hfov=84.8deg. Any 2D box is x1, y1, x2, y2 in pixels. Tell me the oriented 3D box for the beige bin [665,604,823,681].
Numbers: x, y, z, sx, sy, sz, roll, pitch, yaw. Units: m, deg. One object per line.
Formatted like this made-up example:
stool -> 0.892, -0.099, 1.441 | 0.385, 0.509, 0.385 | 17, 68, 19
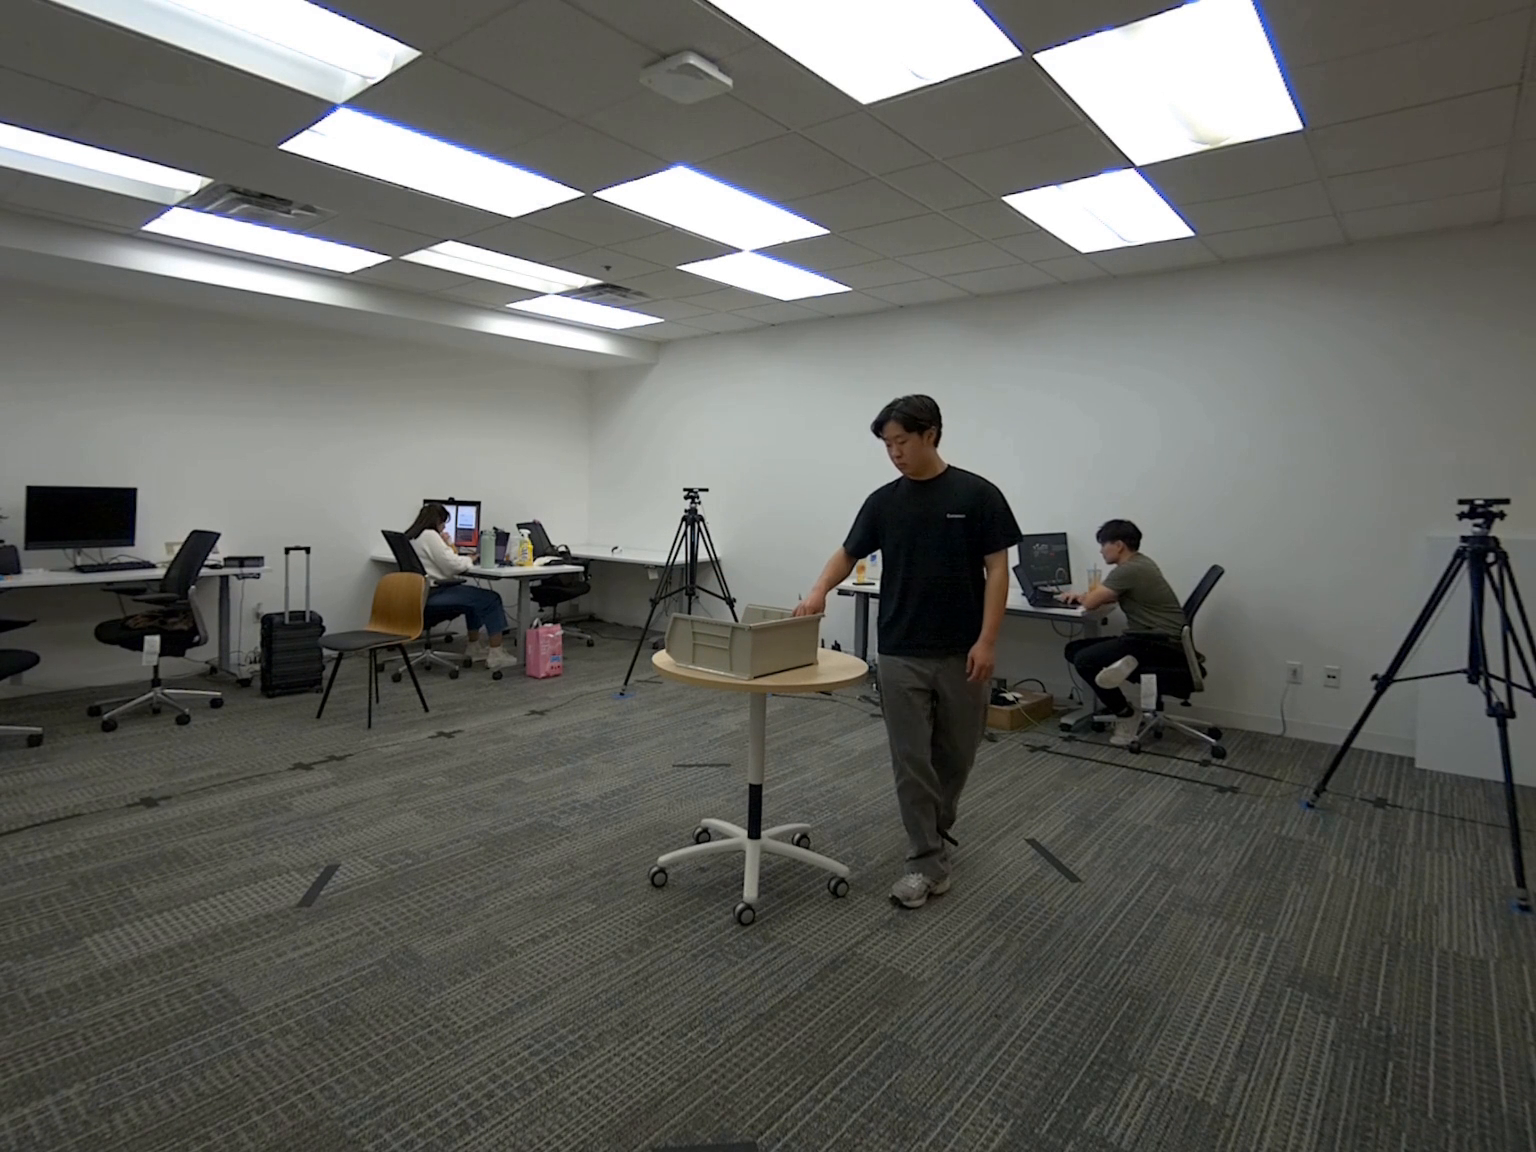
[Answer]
beige bin -> -0.093, 0.217, 2.961 | 0.390, 0.188, 0.410 | 7, 7, 38
